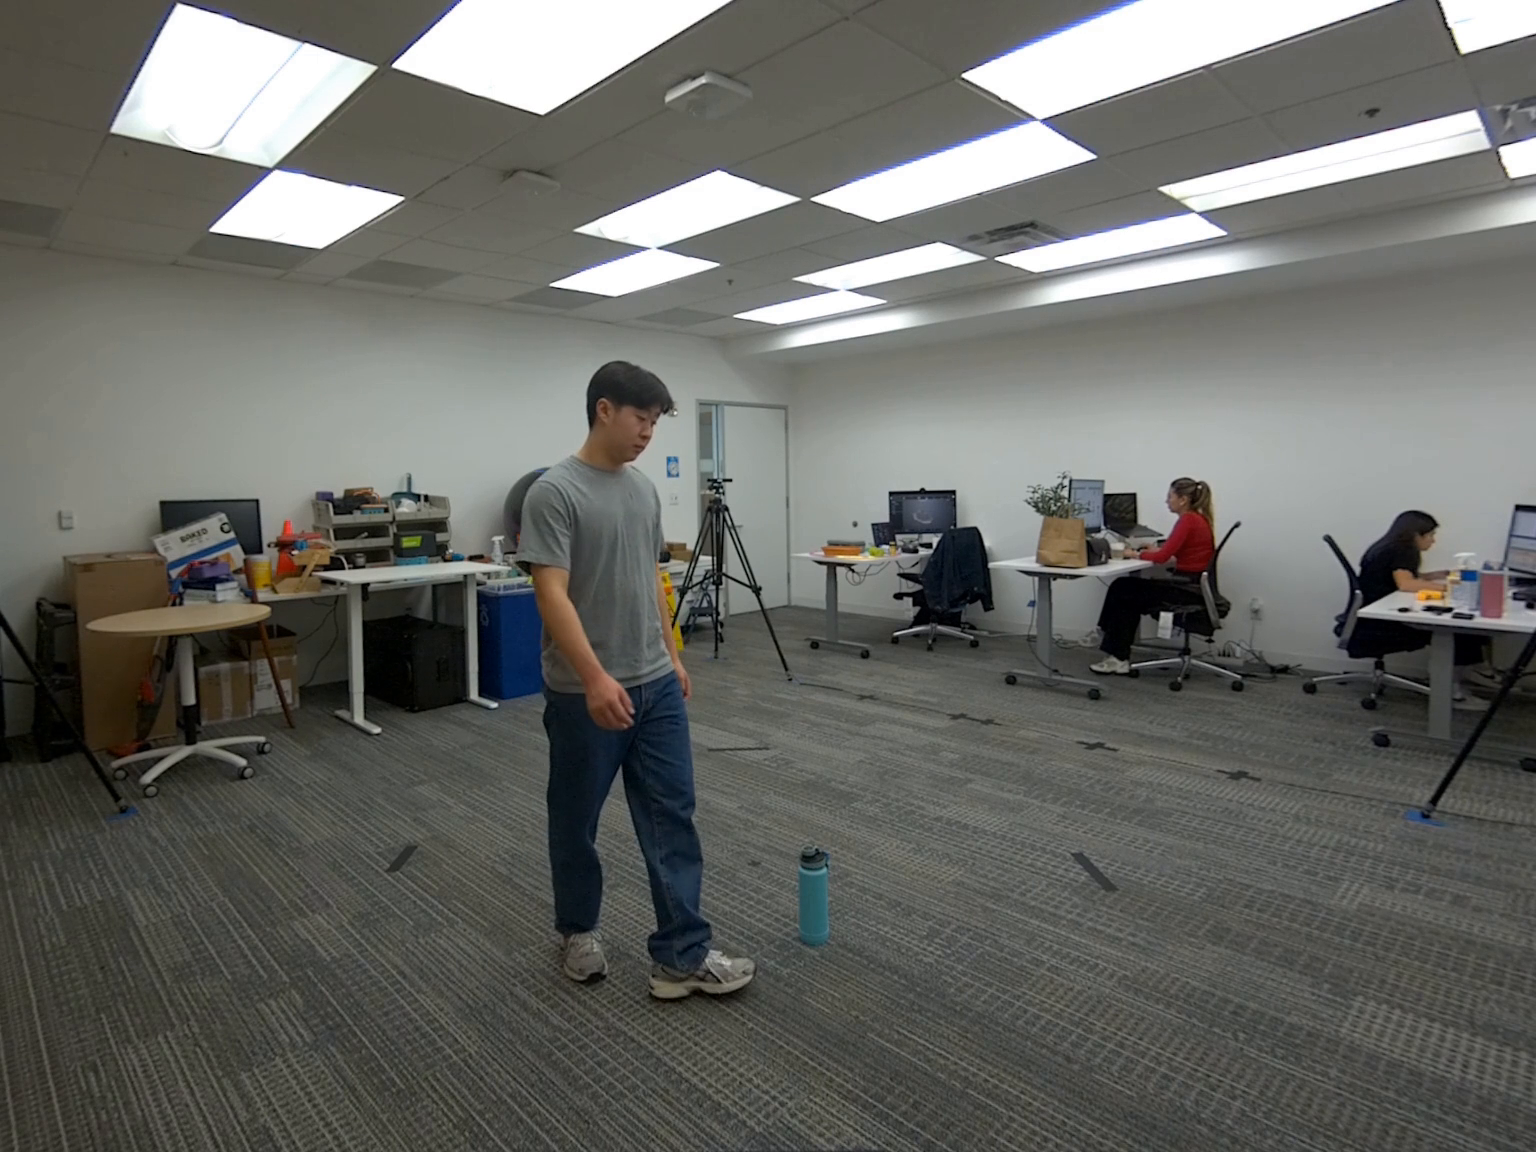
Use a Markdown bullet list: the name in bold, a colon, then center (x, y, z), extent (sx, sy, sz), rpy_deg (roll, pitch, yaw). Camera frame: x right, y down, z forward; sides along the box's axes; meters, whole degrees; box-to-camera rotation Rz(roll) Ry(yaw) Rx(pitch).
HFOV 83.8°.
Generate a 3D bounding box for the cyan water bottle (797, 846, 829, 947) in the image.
- **cyan water bottle**: center (0.146, 0.962, 2.588), extent (0.092, 0.282, 0.093), rpy_deg (-1, 4, -2)
